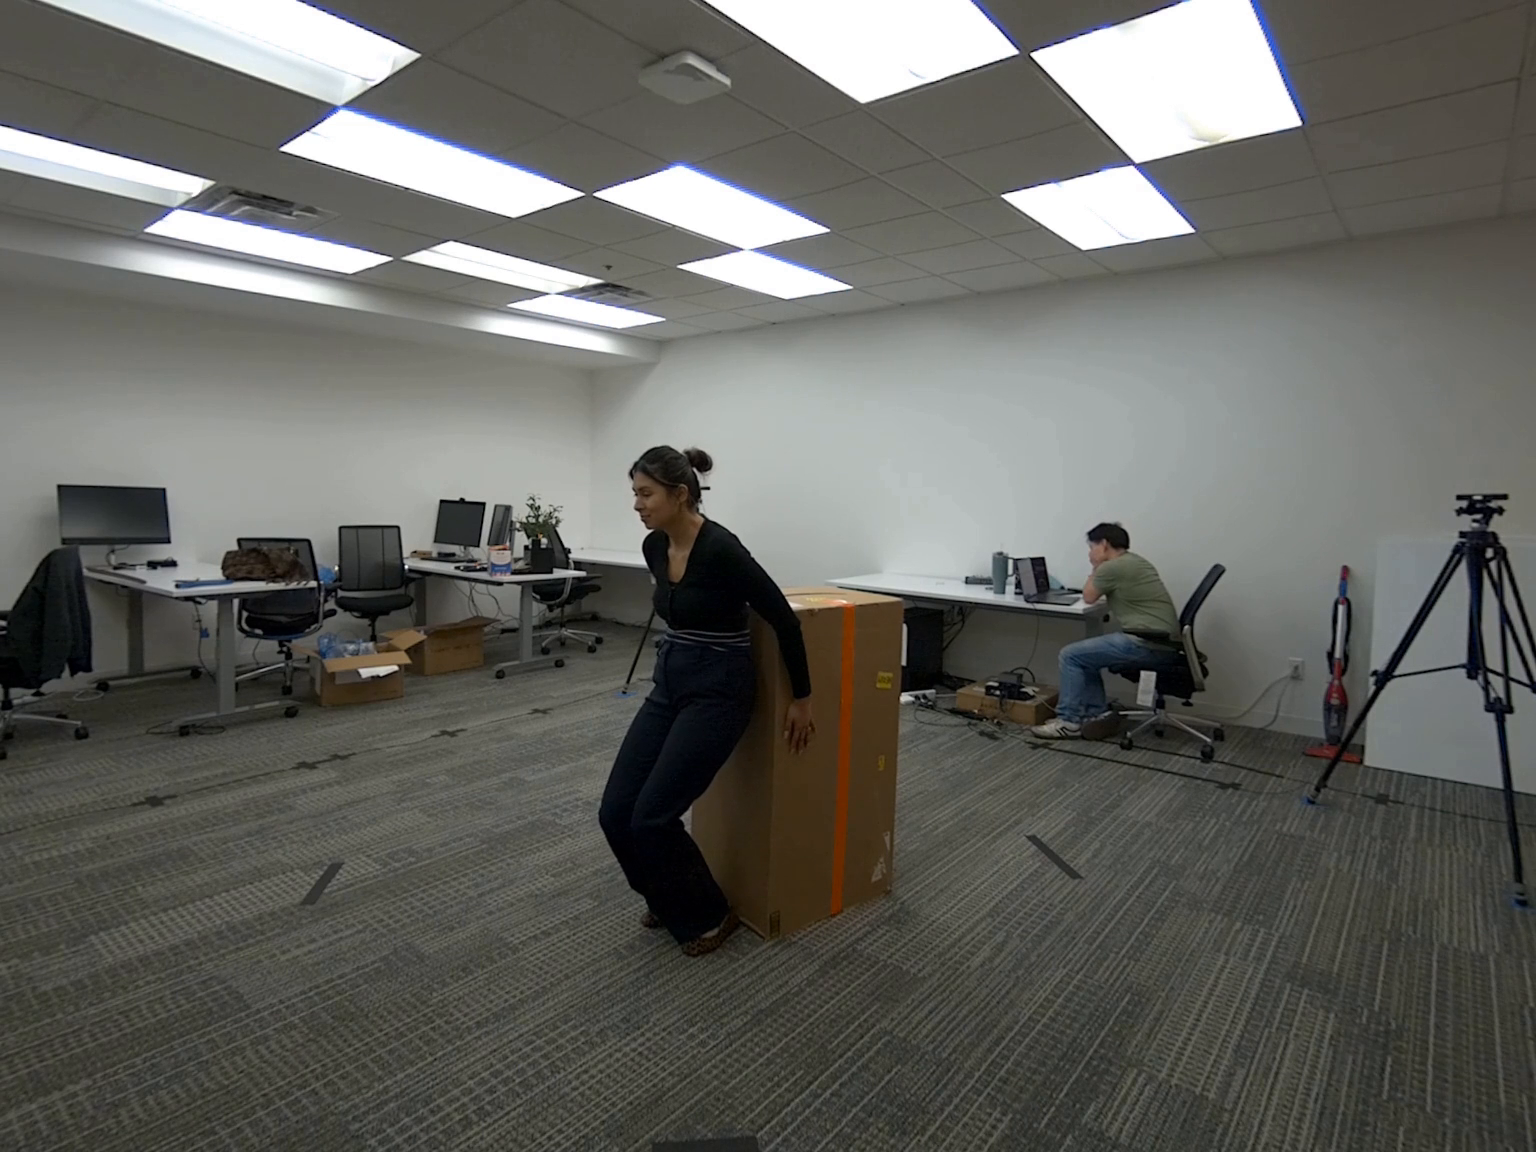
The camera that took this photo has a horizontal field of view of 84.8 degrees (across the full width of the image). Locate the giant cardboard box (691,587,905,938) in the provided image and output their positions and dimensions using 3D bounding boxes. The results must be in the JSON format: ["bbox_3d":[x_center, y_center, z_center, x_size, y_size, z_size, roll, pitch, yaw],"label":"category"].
[{"bbox_3d":[0.094,0.578,2.926,0.560,1.023,0.441,-1,4,-39],"label":"giant cardboard box"}]
